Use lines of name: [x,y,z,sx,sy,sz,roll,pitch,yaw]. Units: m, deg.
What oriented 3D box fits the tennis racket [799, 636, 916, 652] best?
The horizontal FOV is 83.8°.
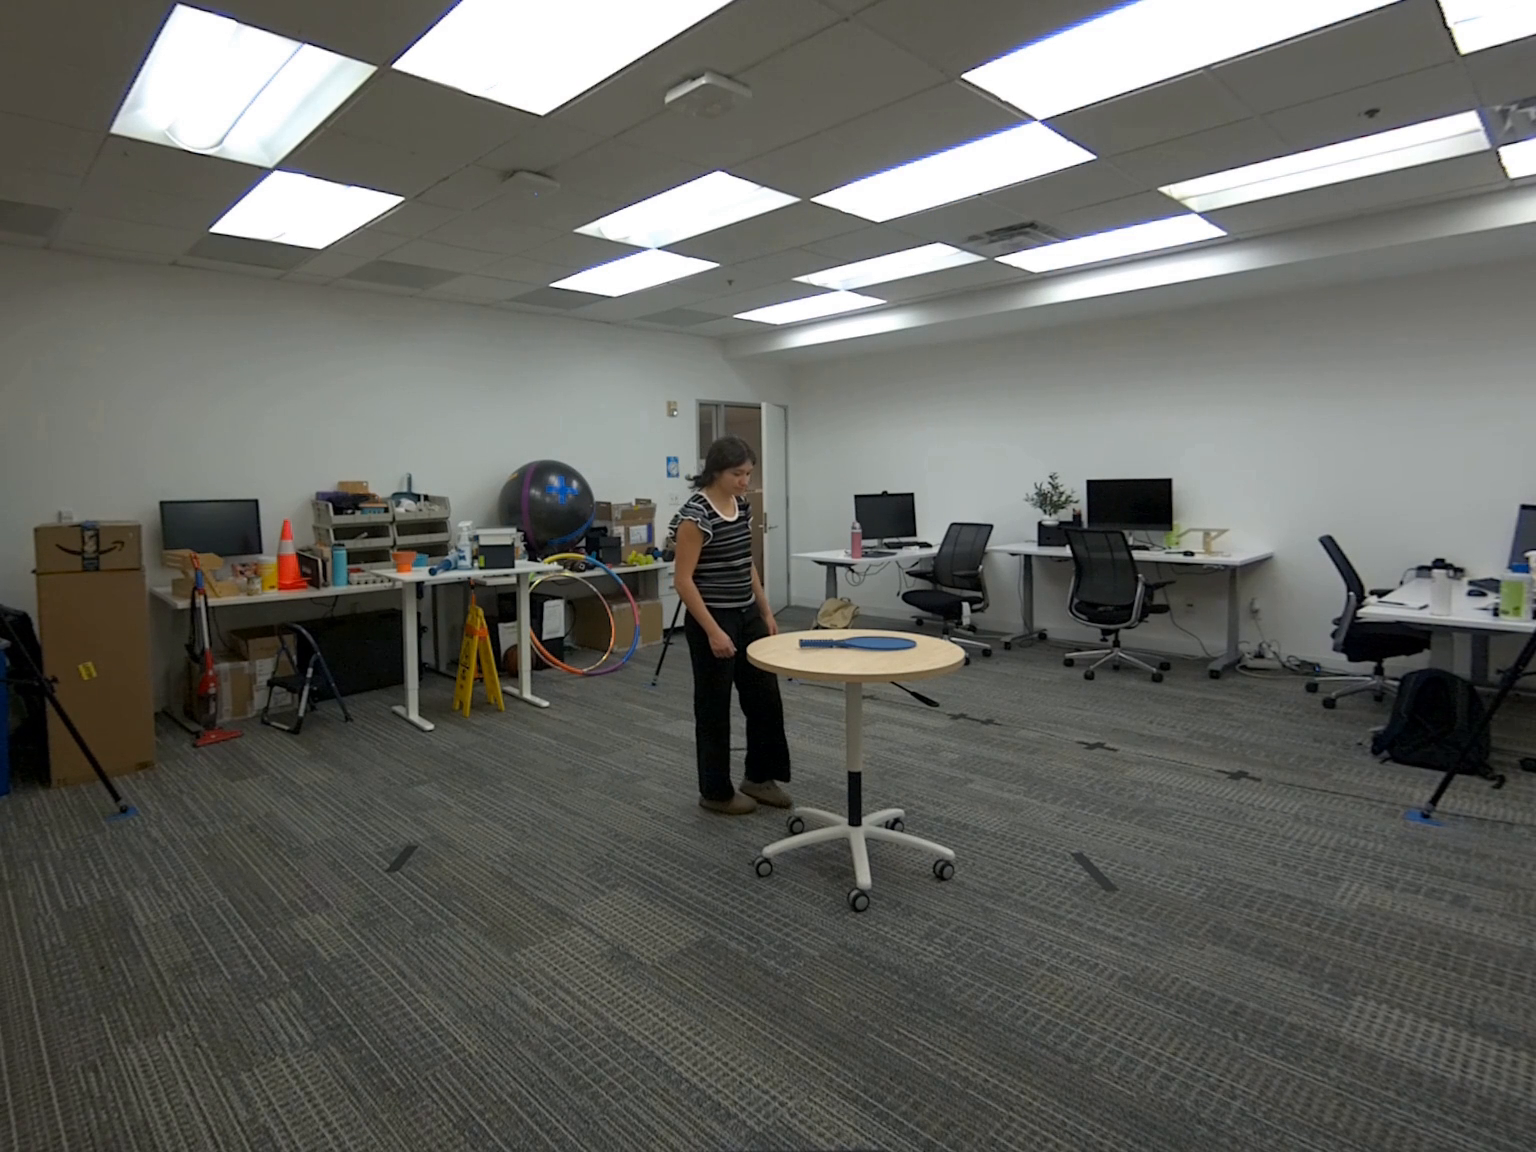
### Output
tennis racket: [0.338,0.247,3.107,0.429,0.031,0.217,0,7,-9]
